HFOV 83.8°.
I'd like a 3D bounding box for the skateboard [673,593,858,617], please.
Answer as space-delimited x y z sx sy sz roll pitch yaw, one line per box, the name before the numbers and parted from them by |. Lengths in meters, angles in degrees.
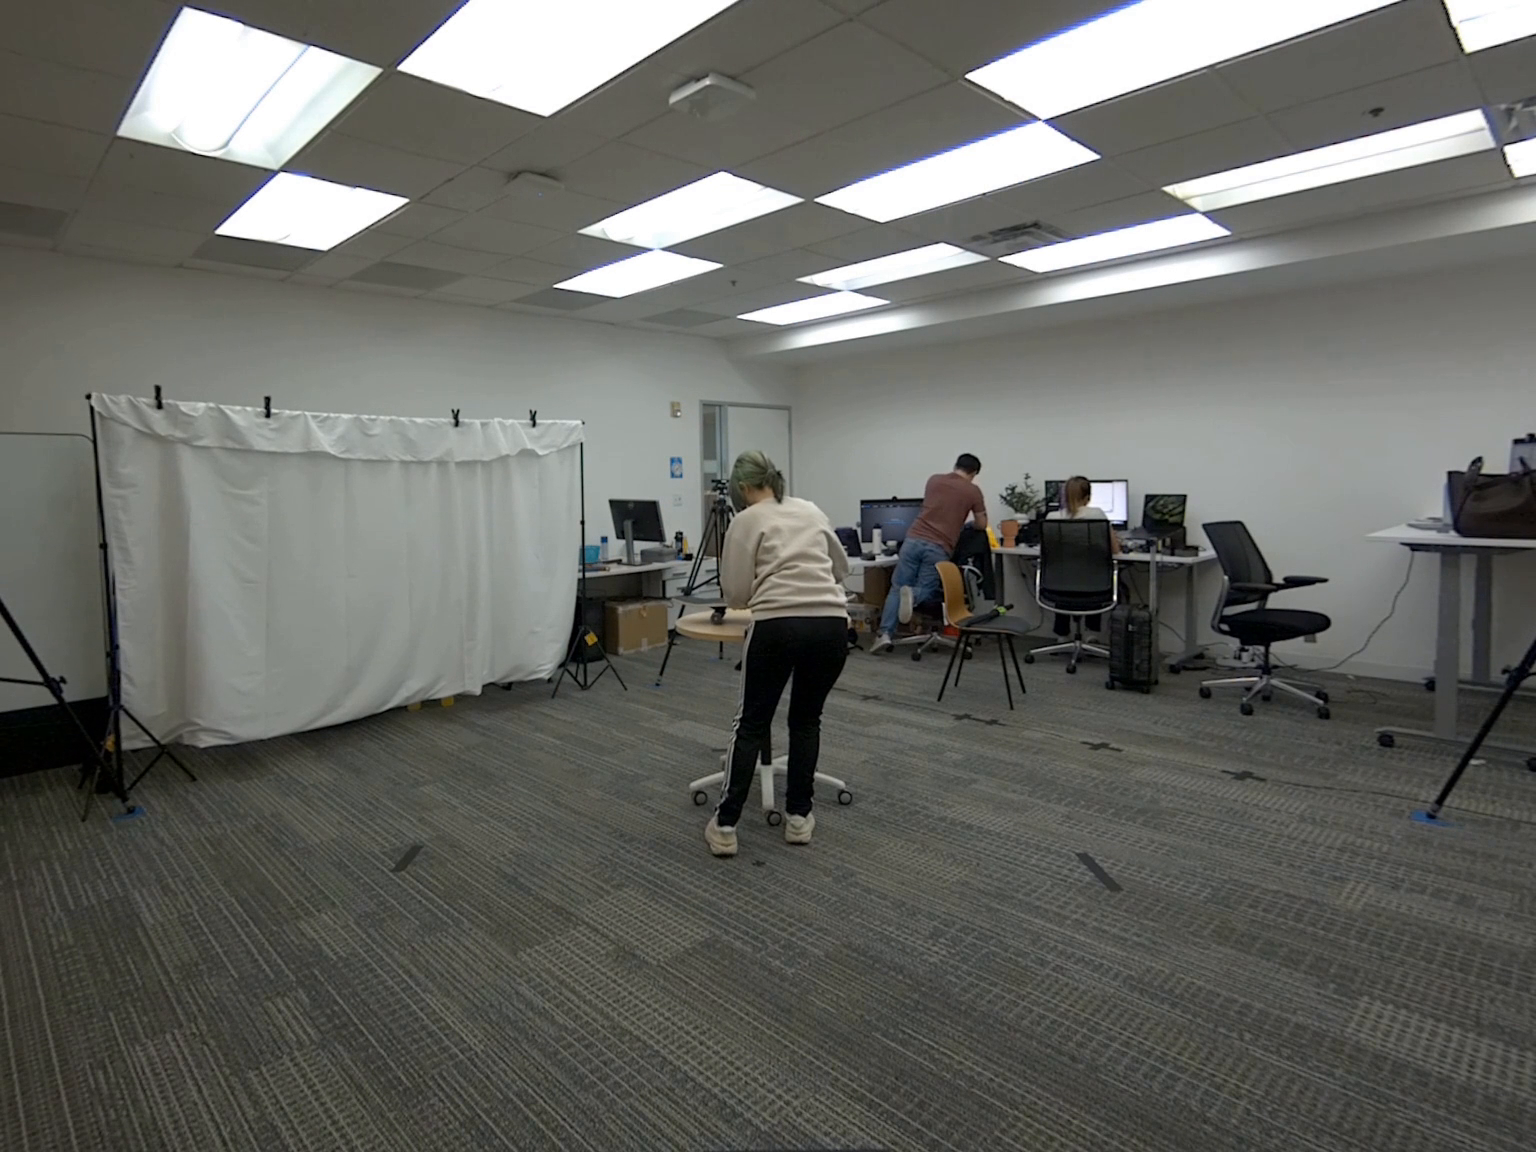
skateboard | -0.026 0.143 3.711 0.789 0.110 0.193 -1 6 4
